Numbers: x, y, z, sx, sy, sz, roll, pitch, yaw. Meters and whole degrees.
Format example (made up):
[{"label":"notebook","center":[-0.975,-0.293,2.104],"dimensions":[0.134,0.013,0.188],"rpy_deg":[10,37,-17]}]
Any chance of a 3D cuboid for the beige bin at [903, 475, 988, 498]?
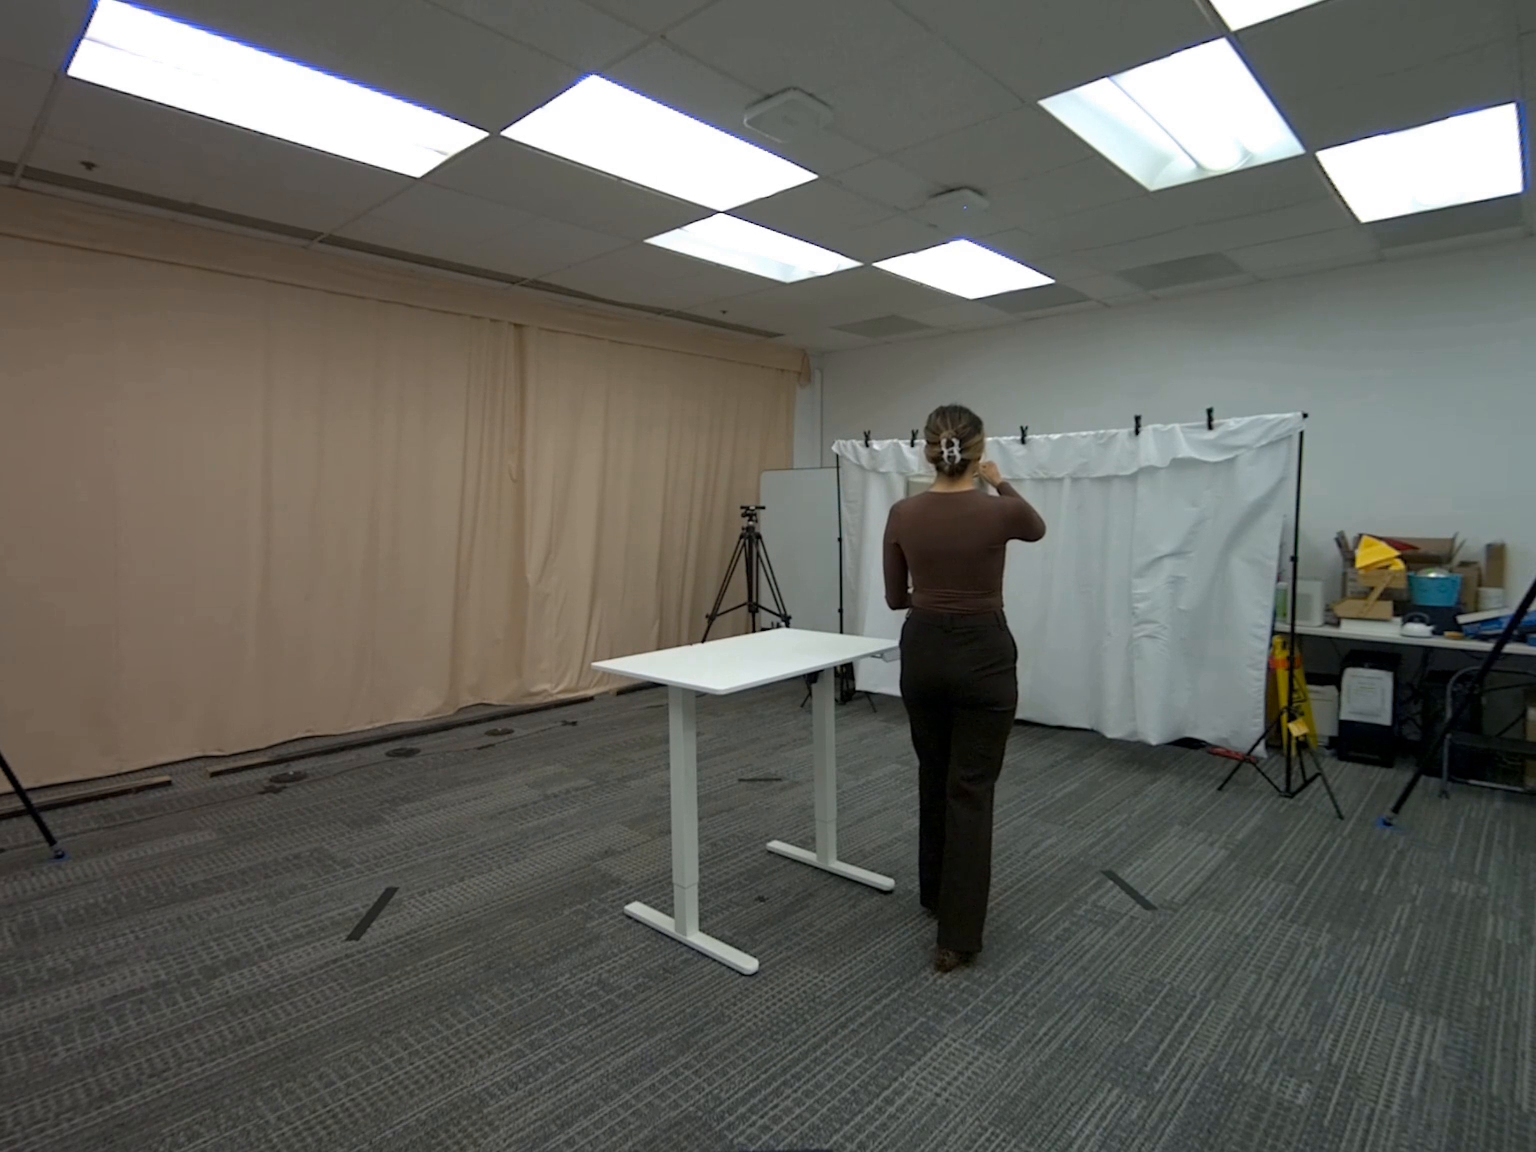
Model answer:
[{"label":"beige bin","center":[0.664,-0.175,3.065],"dimensions":[0.195,0.419,0.368],"rpy_deg":[11,18,38]}]
